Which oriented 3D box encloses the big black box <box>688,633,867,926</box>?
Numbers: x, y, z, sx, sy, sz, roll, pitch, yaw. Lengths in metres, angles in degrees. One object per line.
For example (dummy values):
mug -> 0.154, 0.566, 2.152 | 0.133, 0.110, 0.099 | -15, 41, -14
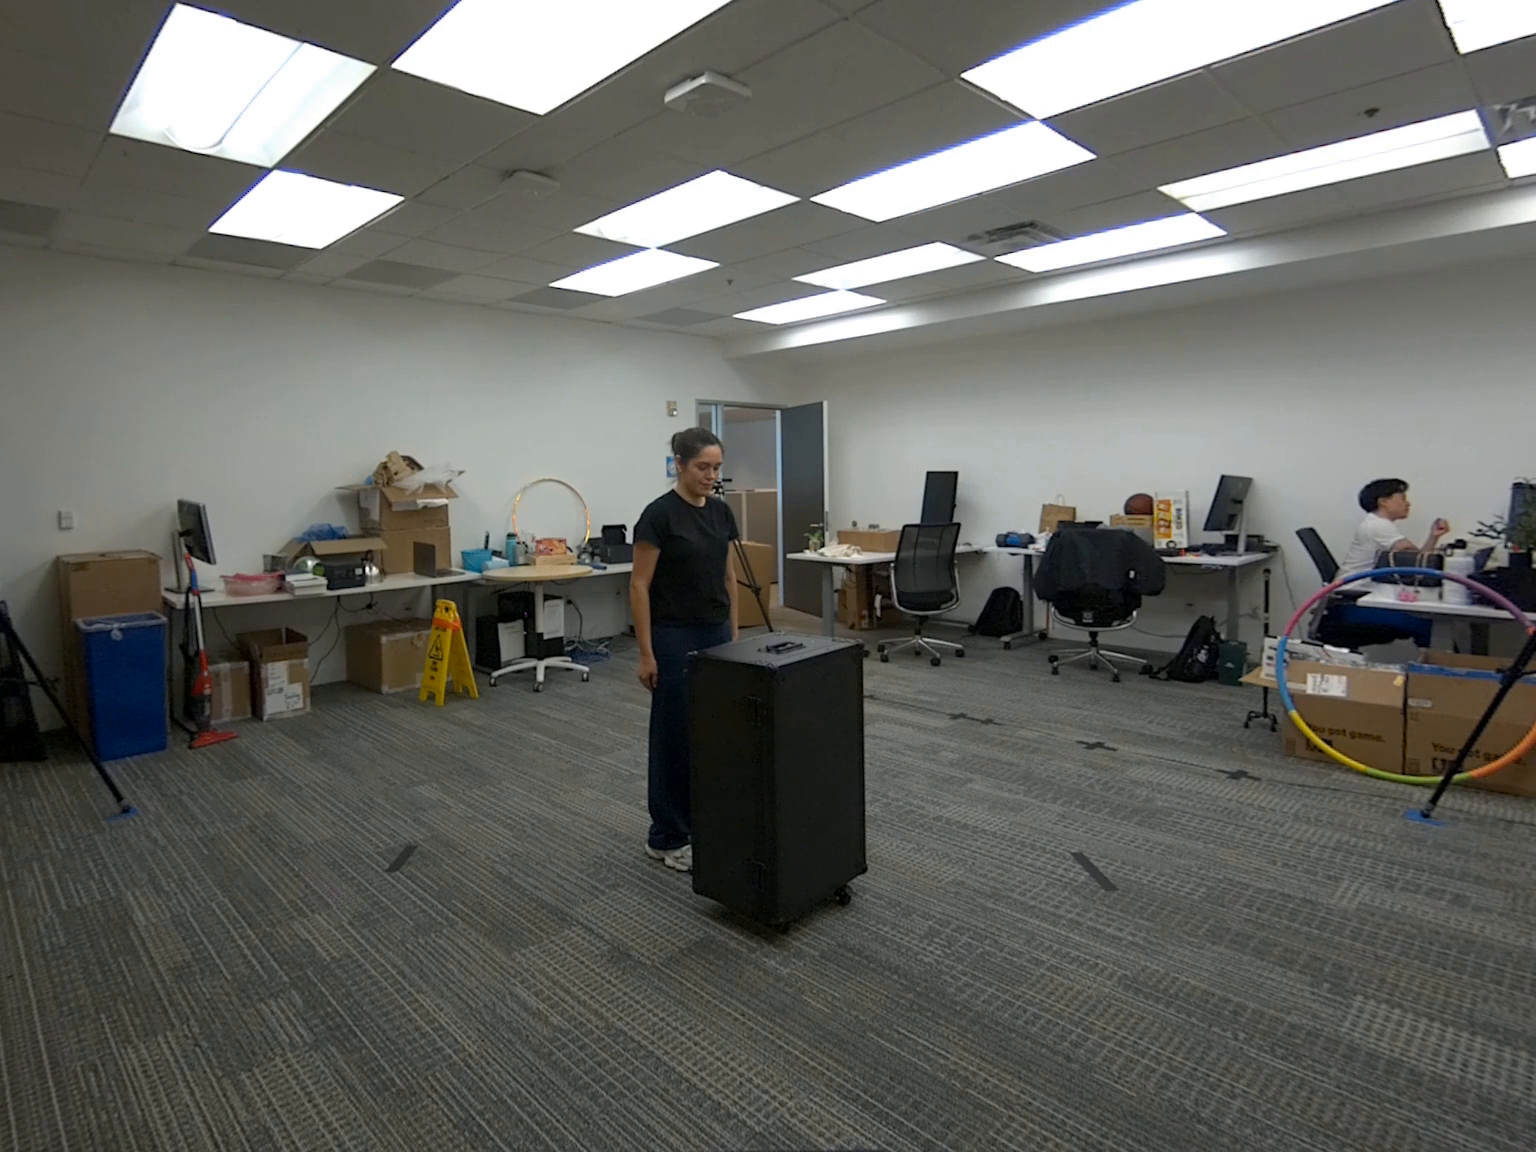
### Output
big black box -> 0.042, 0.653, 2.798 | 0.408, 0.858, 0.507 | 3, 5, 40
